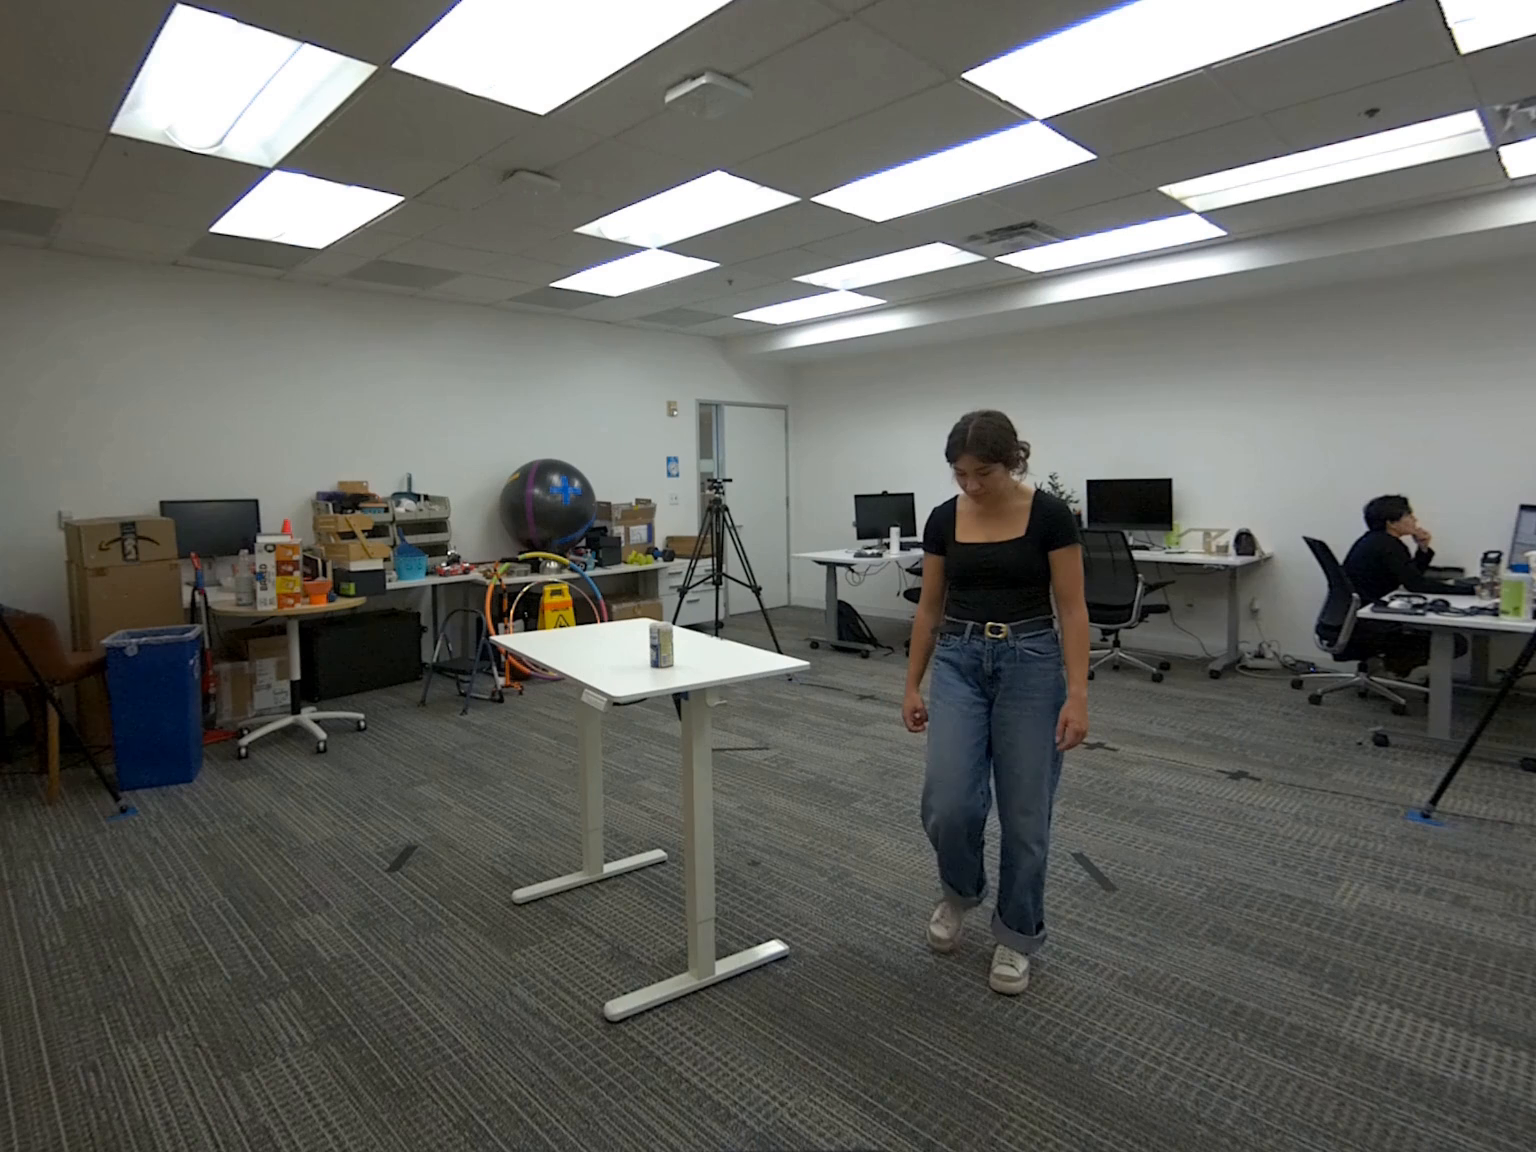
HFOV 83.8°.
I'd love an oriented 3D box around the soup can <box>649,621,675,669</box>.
[{"bbox_3d":[-0.285,0.192,2.374,0.067,0.121,0.067,-2,1,-2],"label":"soup can"}]
